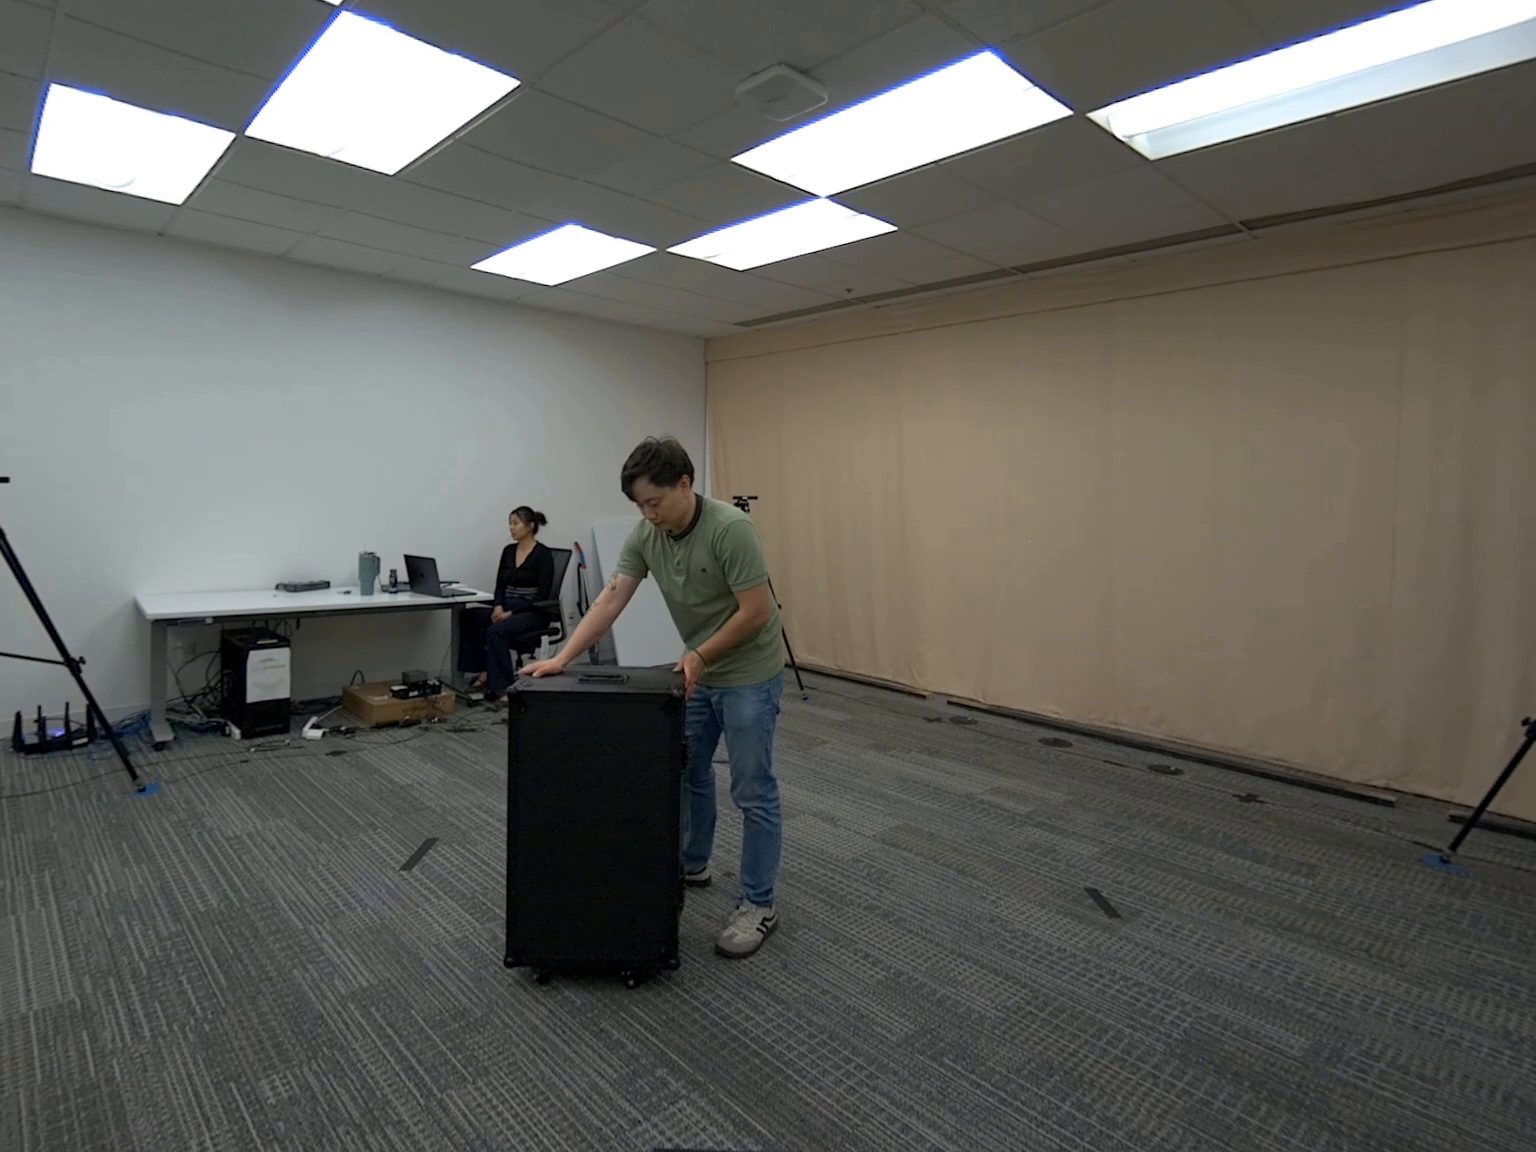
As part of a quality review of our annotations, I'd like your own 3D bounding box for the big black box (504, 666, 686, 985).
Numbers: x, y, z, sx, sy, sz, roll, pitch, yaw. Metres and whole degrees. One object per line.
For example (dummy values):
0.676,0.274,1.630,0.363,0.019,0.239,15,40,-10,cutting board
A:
-0.511,0.730,2.500,0.521,0.860,0.397,1,2,-1,big black box
